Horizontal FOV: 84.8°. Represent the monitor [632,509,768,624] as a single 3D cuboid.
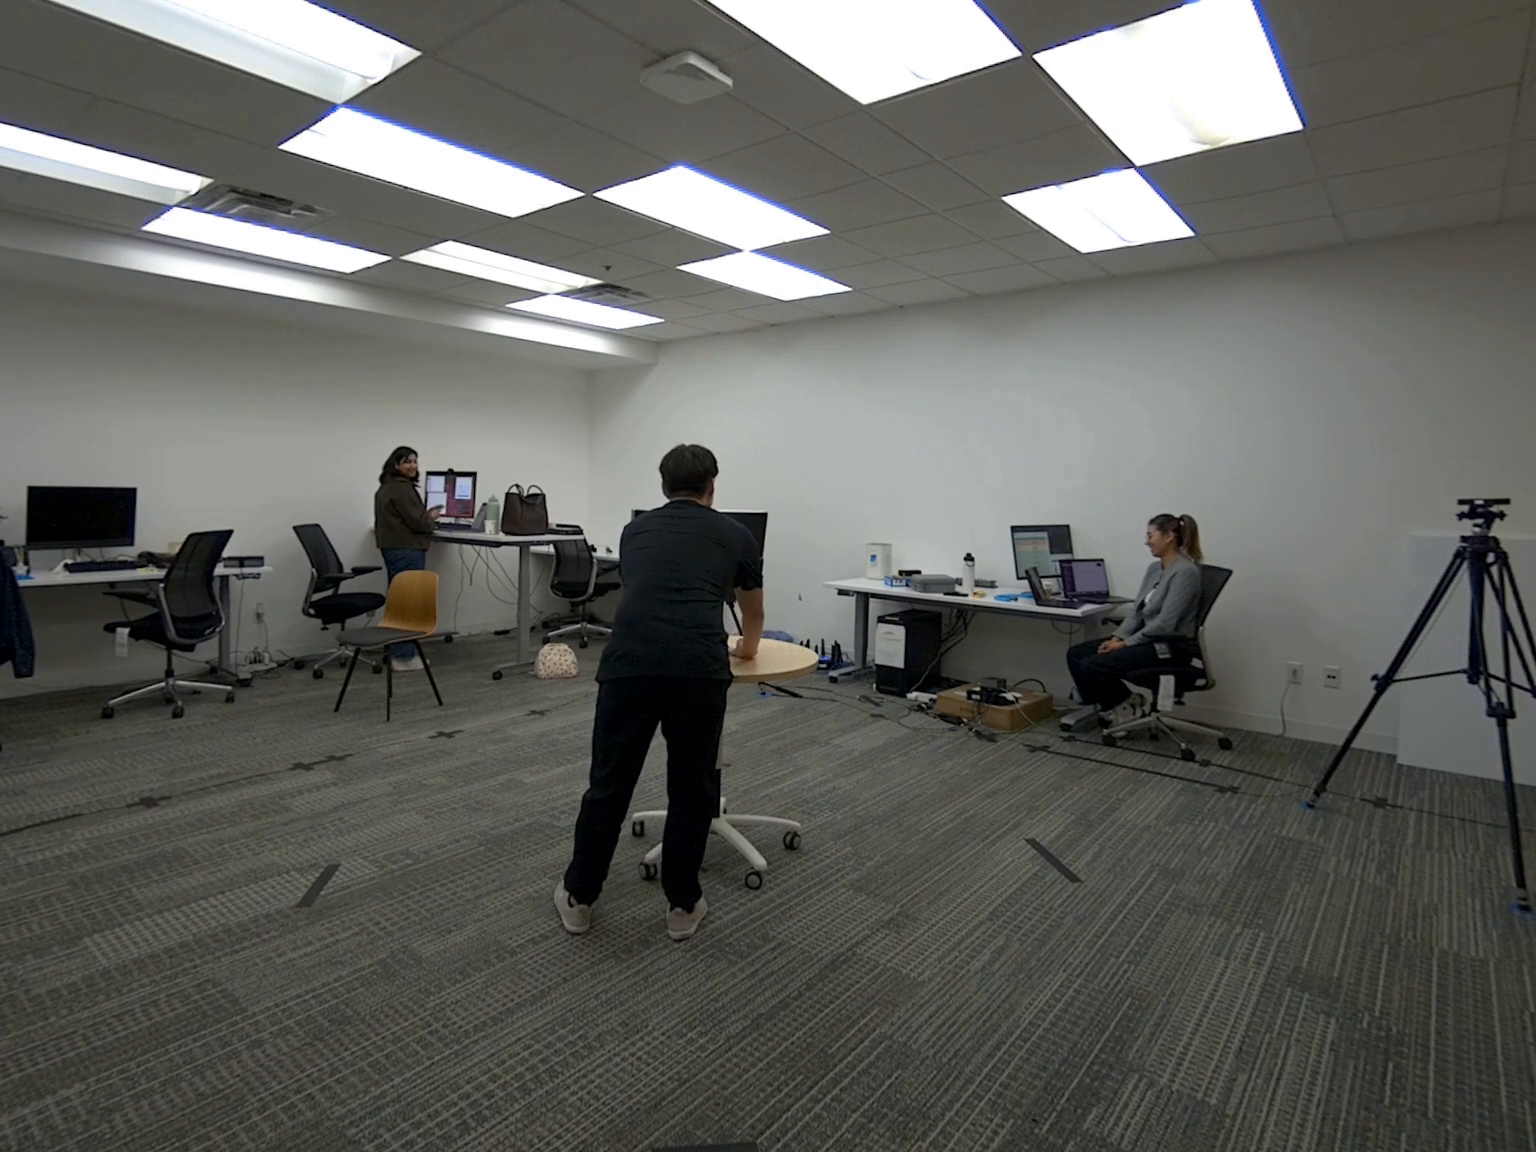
[{"bbox_3d":[-0.269,0.016,3.238,0.525,0.521,0.192,-1,3,-28],"label":"monitor"}]
